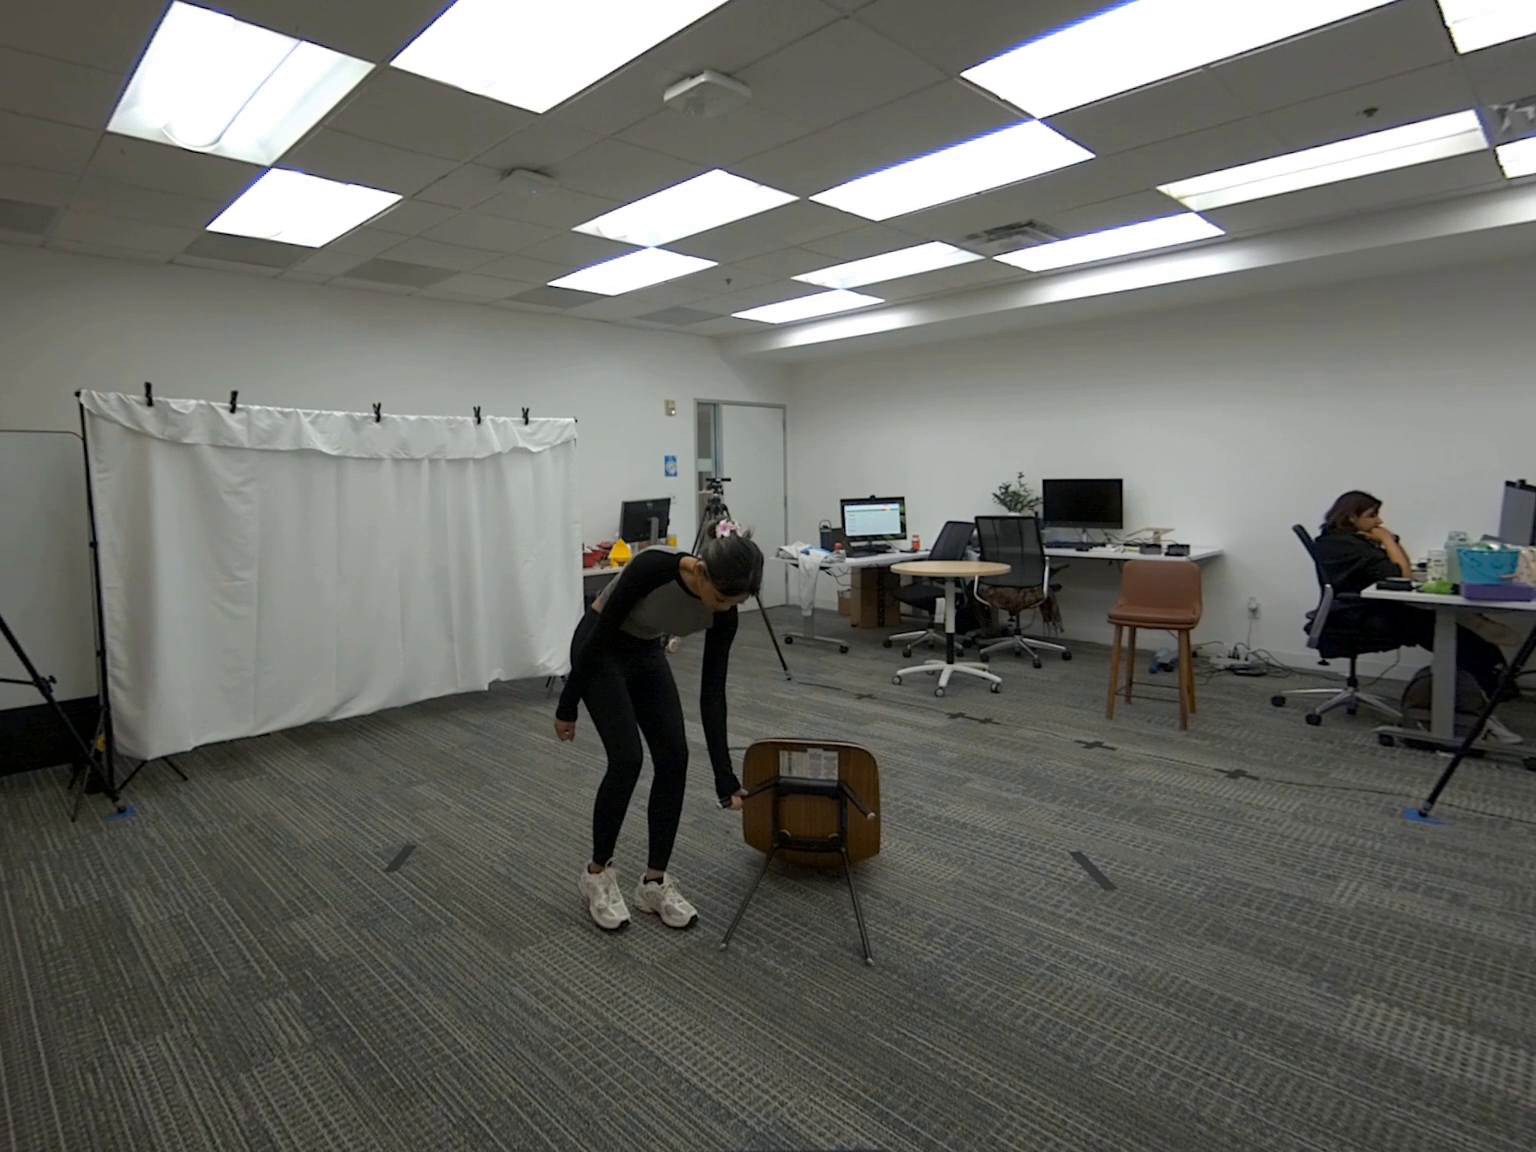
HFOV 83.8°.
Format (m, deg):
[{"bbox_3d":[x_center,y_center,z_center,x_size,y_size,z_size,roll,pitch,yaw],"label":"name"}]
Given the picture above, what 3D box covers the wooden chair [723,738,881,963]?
[{"bbox_3d":[0.141,0.805,2.875,0.483,0.521,0.871,0,5,10],"label":"wooden chair"}]
